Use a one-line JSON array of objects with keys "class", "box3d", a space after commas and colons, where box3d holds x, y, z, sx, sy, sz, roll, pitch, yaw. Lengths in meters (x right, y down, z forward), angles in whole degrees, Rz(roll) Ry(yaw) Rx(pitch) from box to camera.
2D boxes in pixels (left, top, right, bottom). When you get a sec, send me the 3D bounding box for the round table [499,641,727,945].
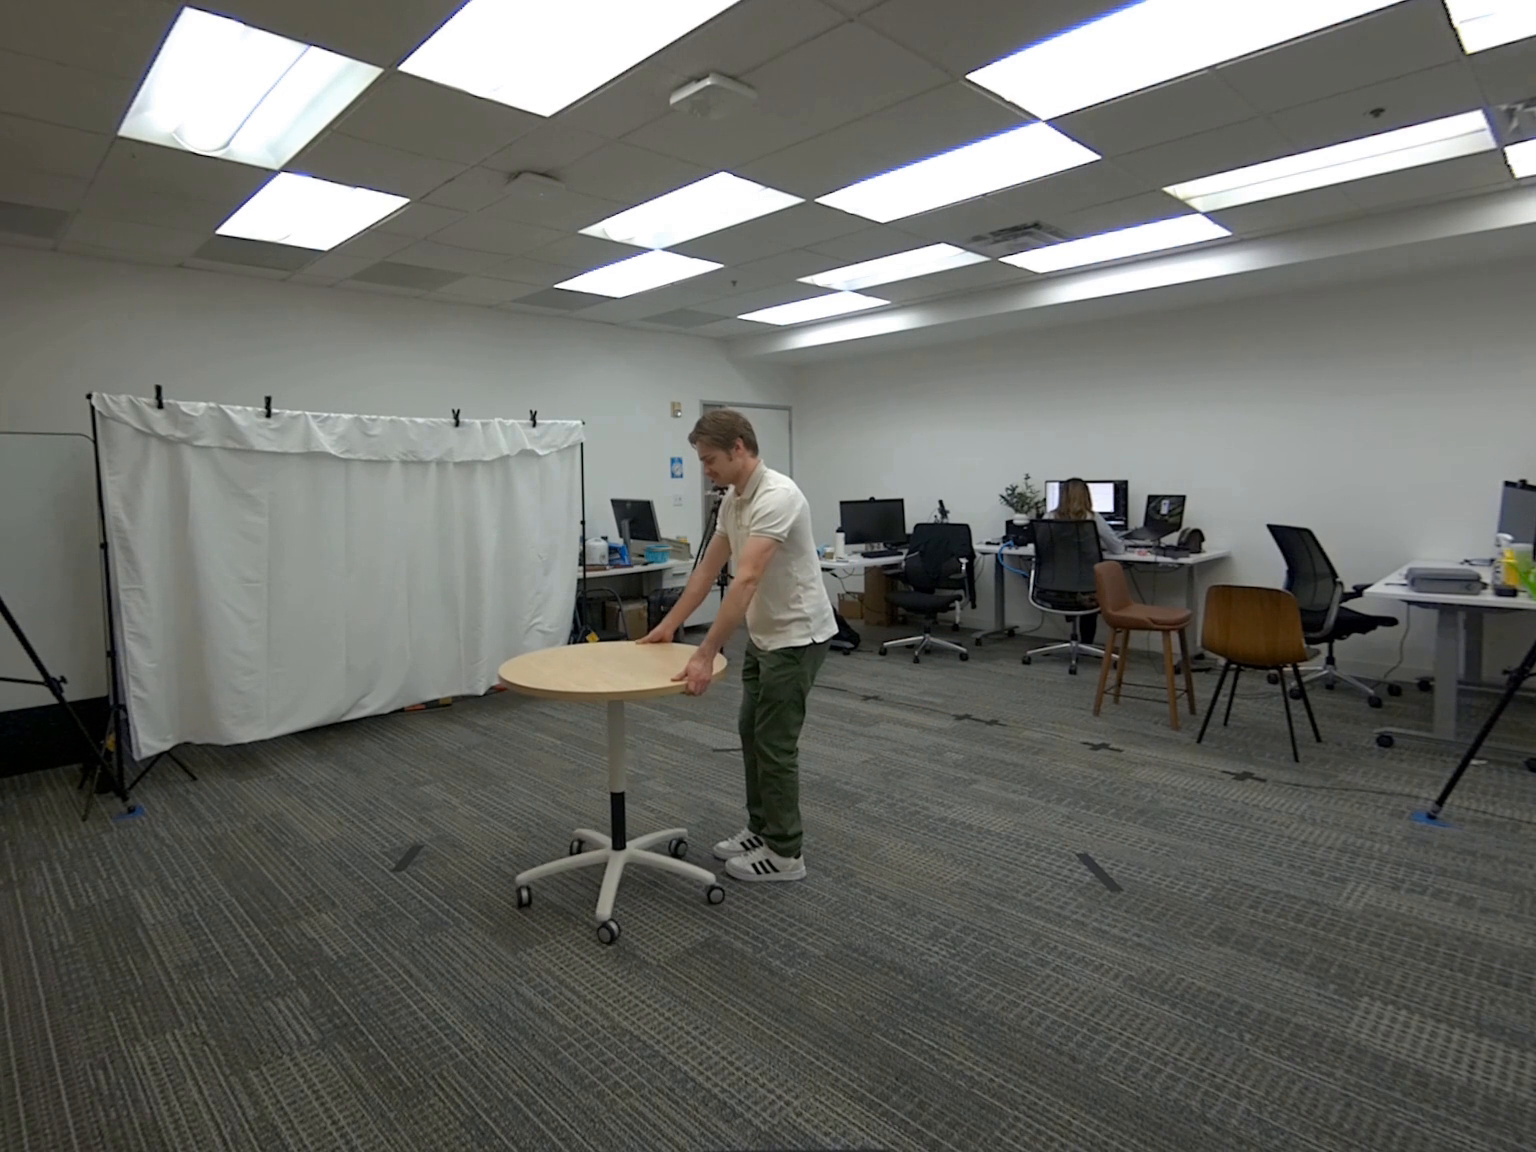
[{"class": "round table", "box3d": [-0.507, 0.686, 2.920, 0.763, 0.790, 0.768, -1, 5, -2]}]
